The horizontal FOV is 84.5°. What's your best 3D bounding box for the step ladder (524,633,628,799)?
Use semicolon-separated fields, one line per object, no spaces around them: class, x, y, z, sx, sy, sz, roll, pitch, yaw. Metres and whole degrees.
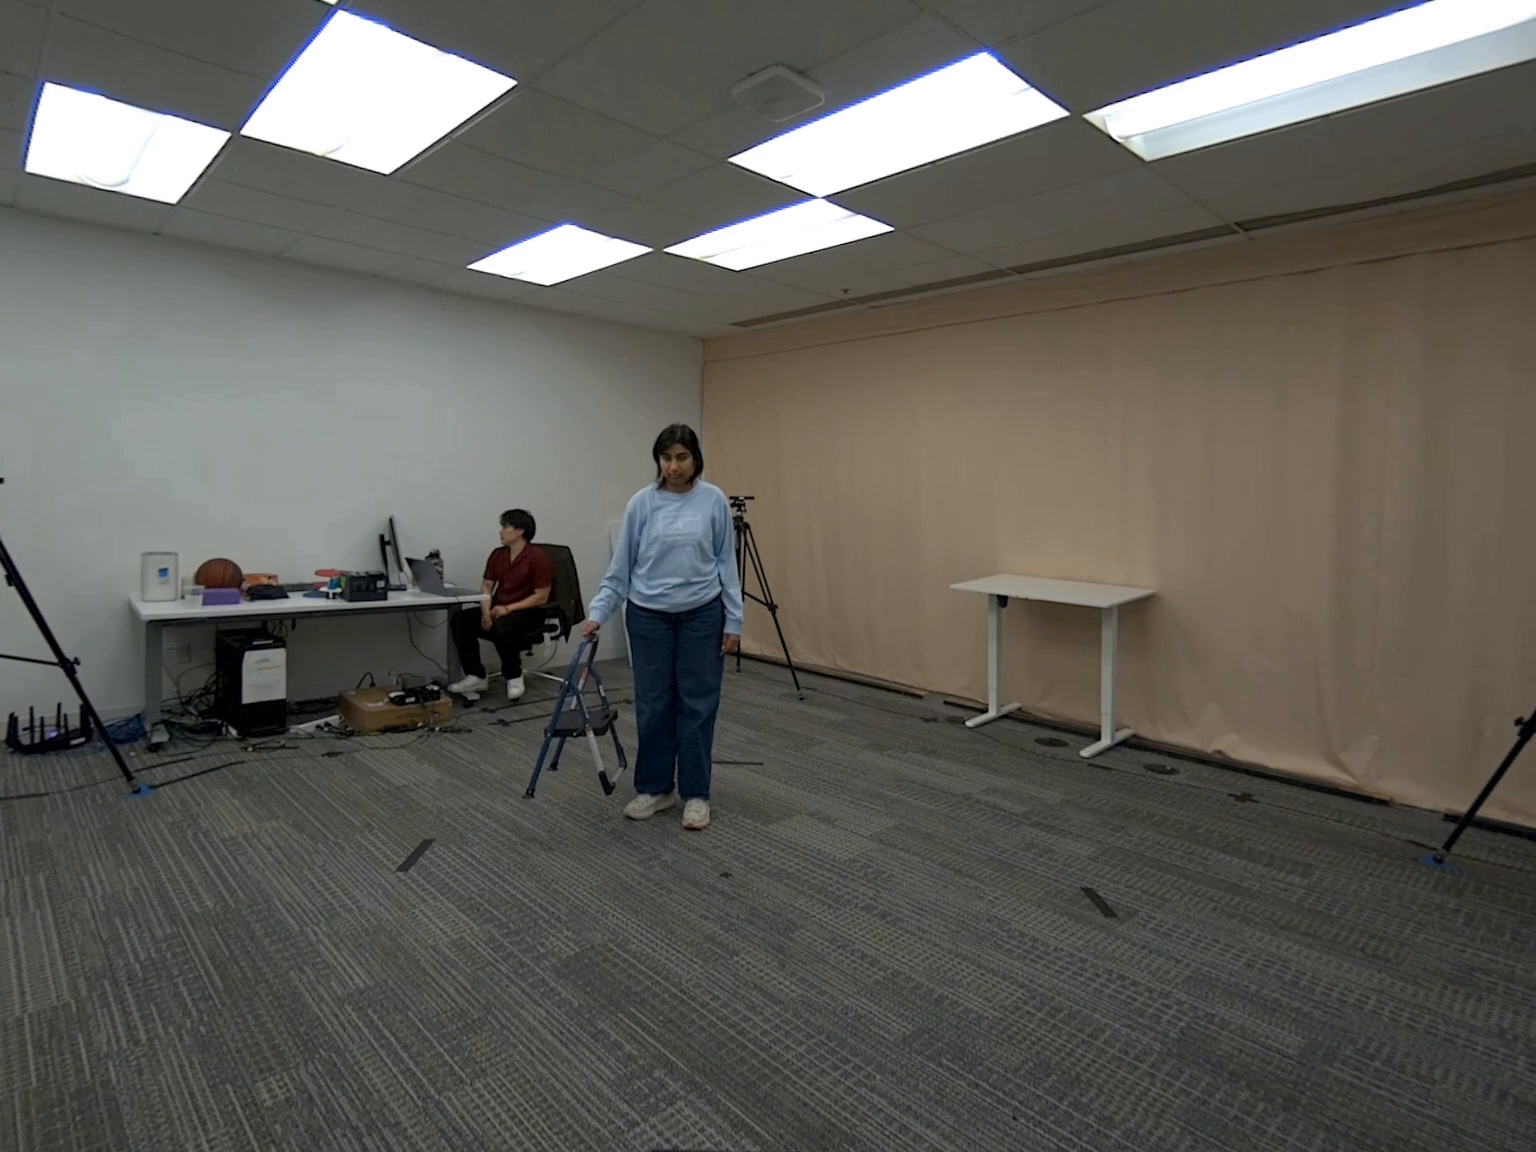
step ladder;-0.803;0.557;3.466;0.349;0.605;0.431;-2;2;-1
